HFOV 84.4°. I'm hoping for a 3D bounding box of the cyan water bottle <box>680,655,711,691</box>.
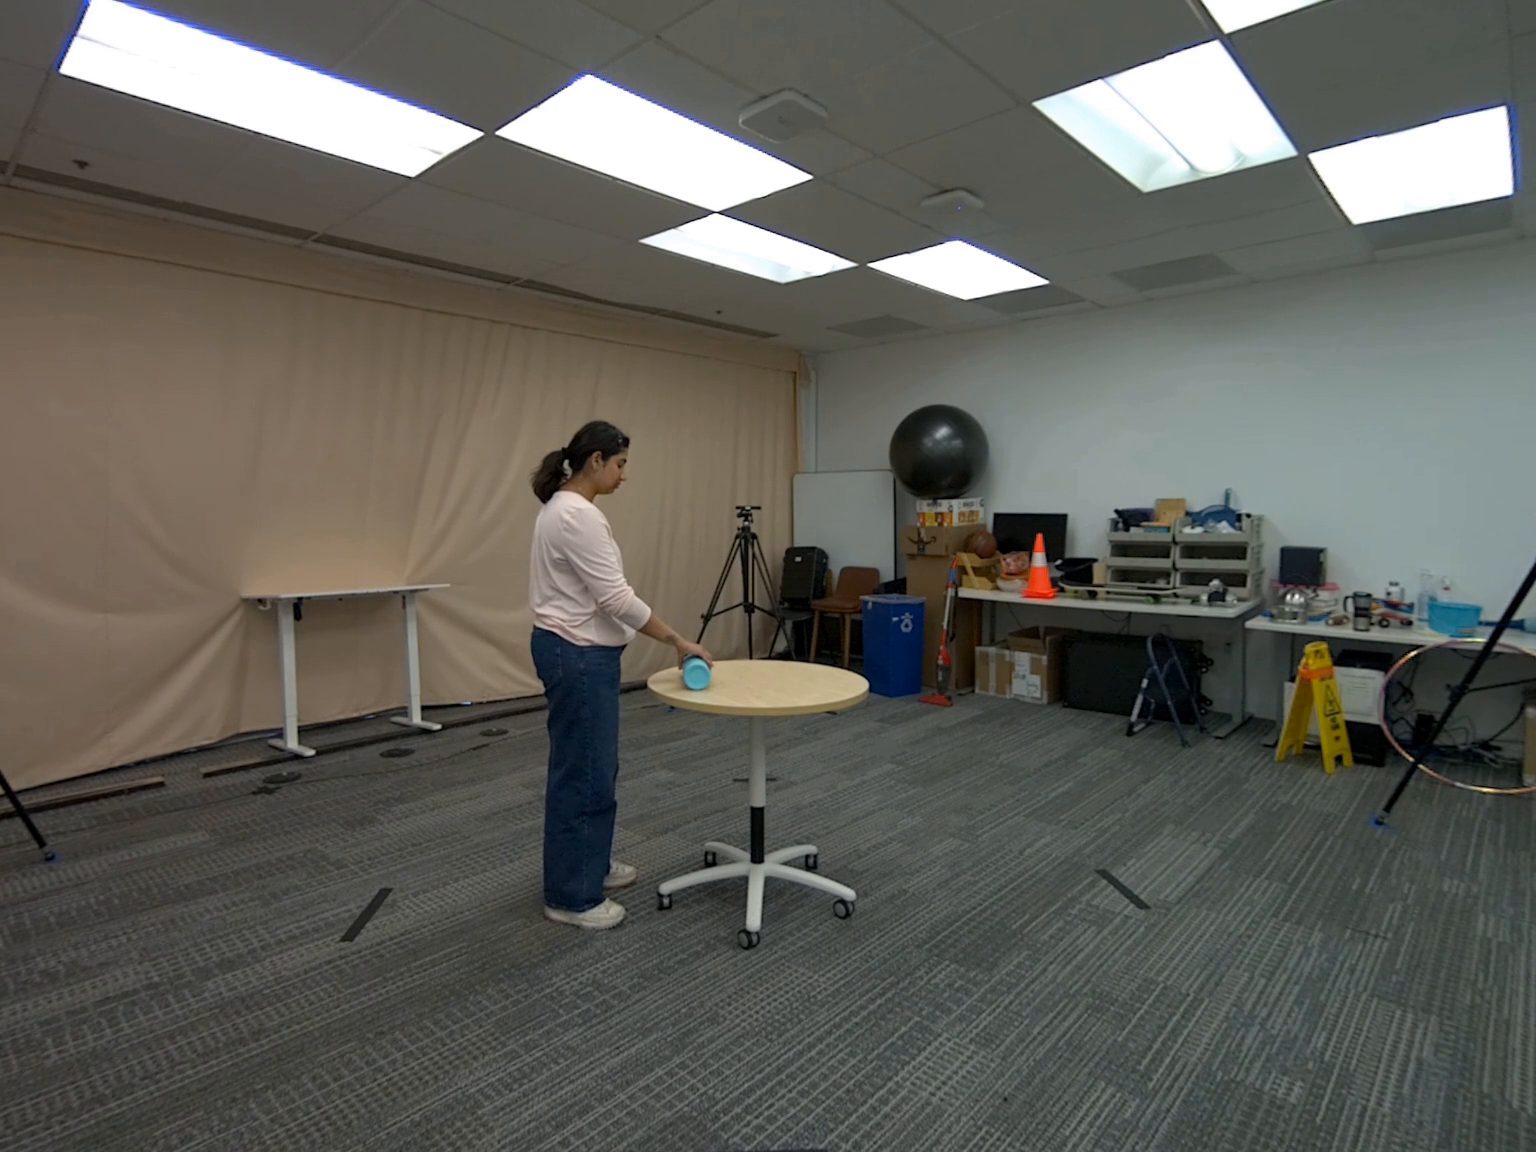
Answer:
[{"bbox_3d":[-0.244,0.314,2.891,0.091,0.092,0.288,-1,6,-13],"label":"cyan water bottle"}]
